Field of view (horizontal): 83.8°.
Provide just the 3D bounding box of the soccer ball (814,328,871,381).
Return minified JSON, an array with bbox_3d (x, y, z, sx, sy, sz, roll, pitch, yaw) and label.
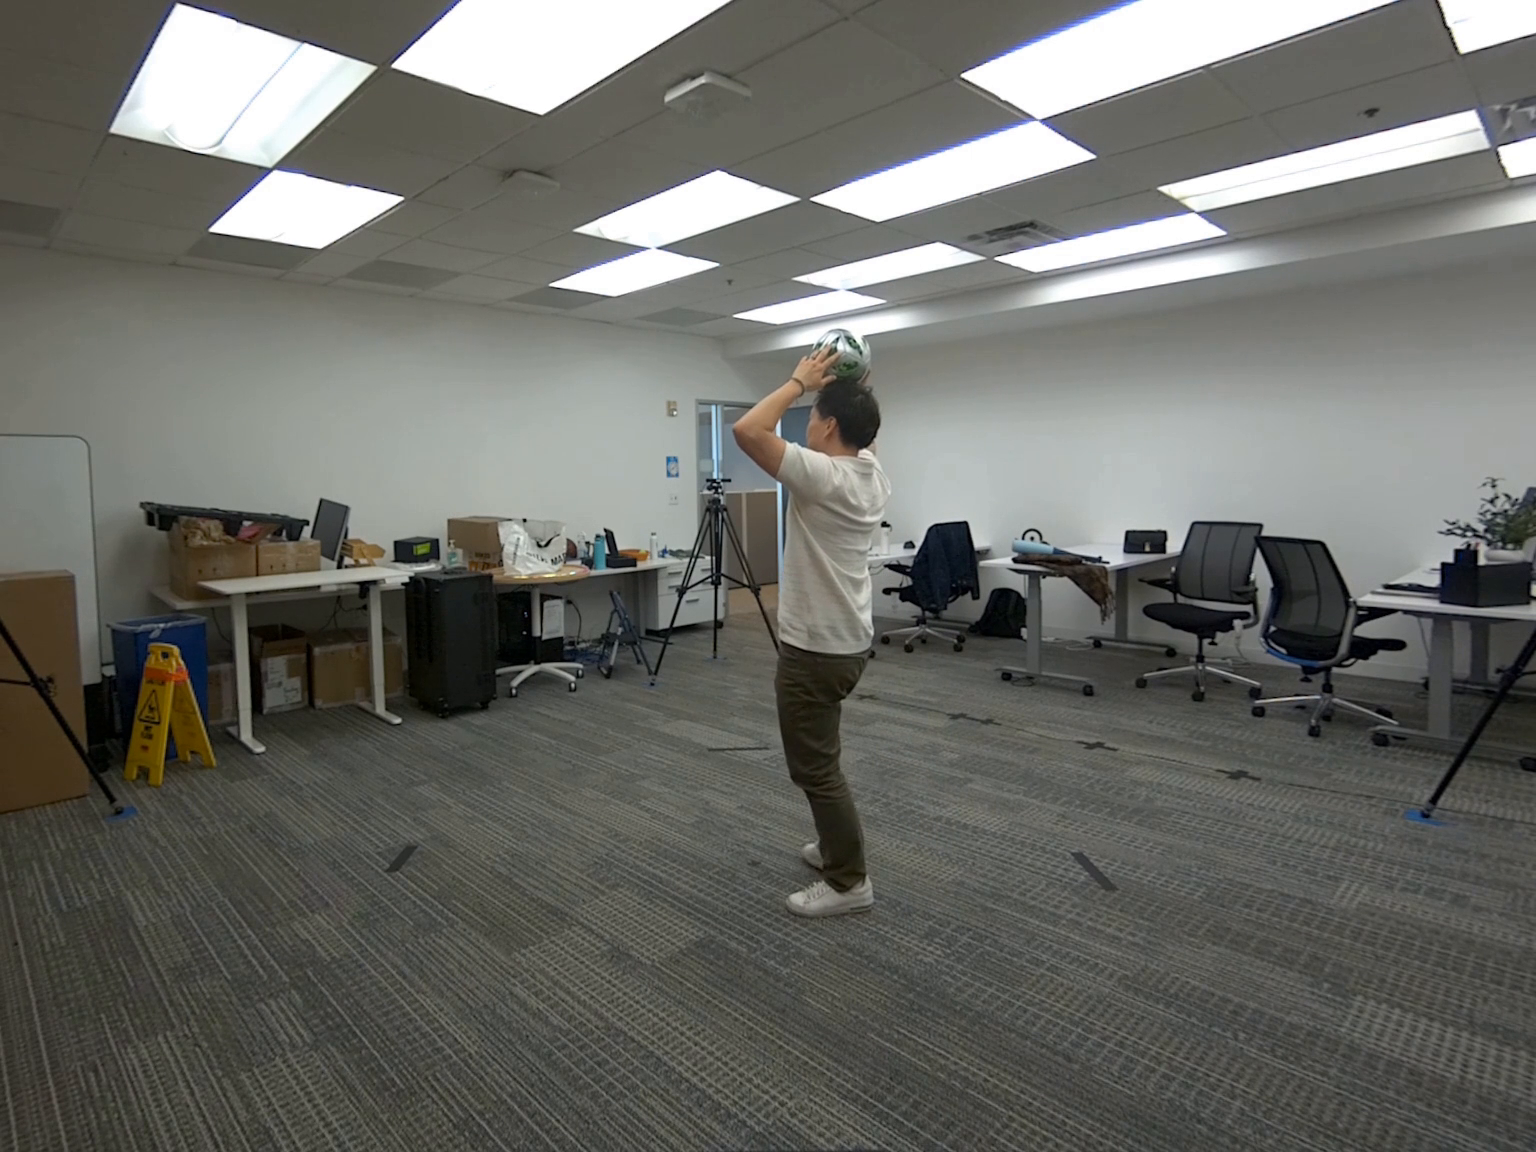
[{"bbox_3d":[0.230,-0.679,2.682,0.187,0.187,0.188,-1,5,-2],"label":"soccer ball"}]
